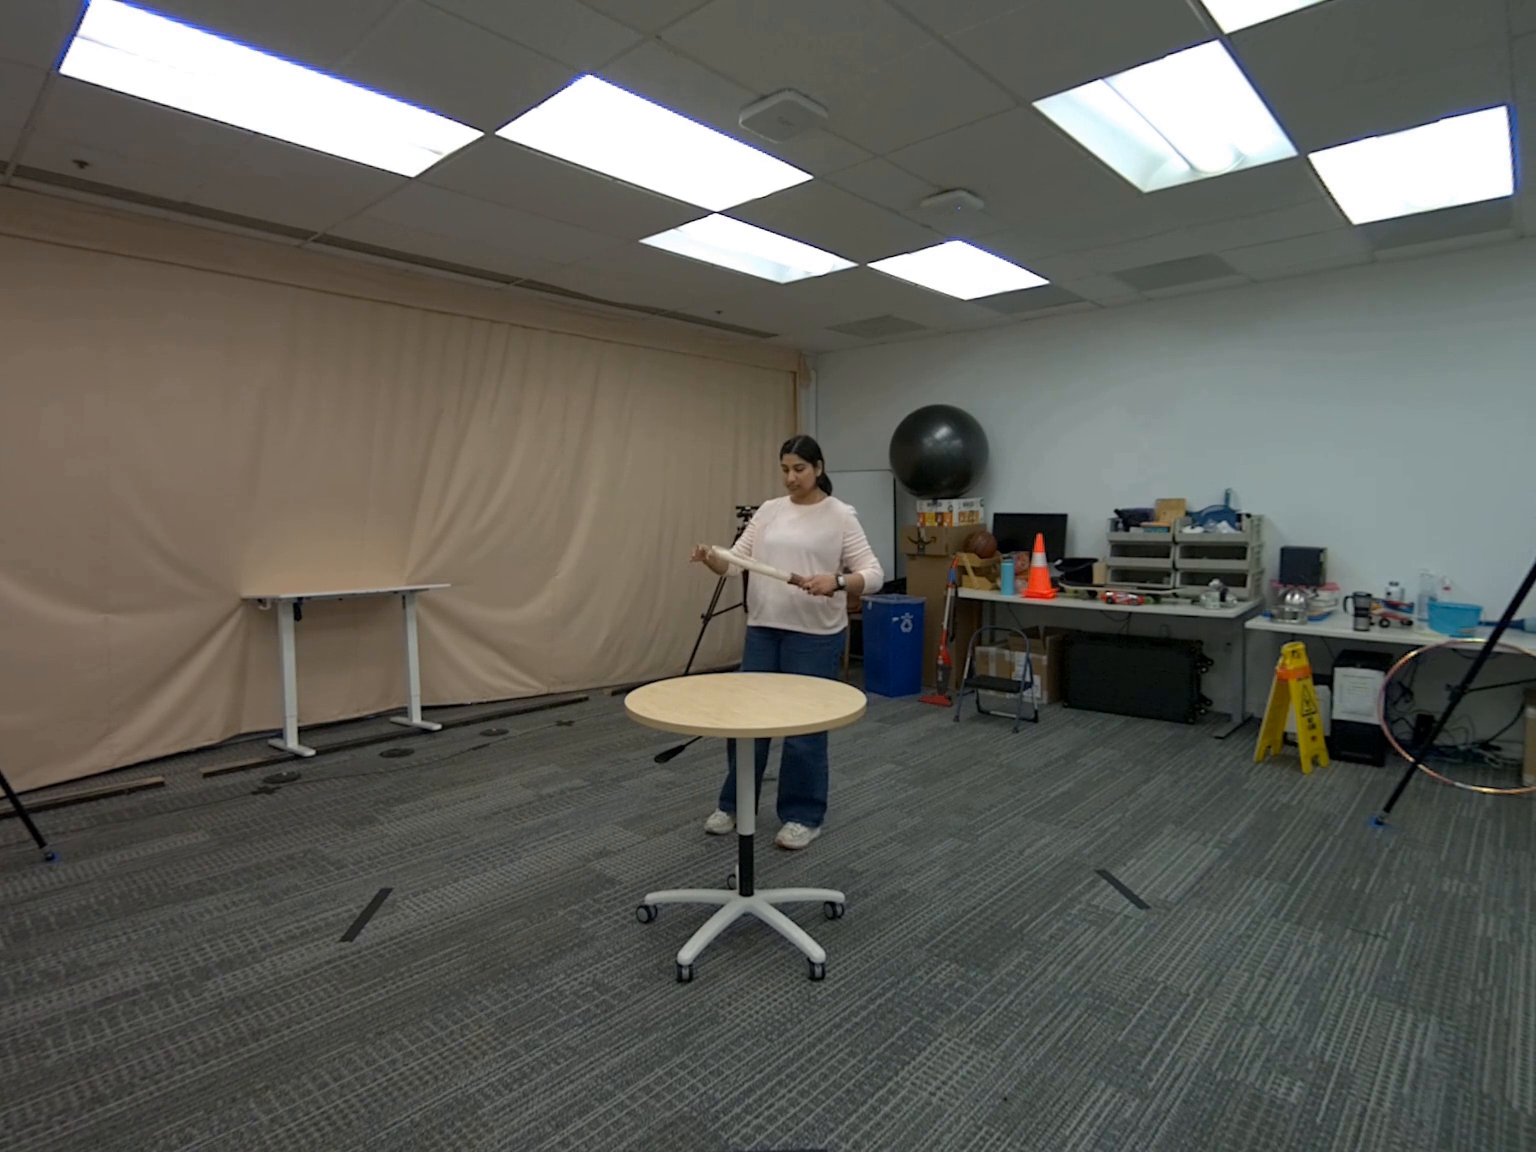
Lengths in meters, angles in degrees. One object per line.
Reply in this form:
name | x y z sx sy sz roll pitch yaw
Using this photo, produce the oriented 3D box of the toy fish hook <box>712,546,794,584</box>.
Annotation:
toy fish hook | 0.029 -0.020 3.259 0.505 0.048 0.225 21 10 -2
